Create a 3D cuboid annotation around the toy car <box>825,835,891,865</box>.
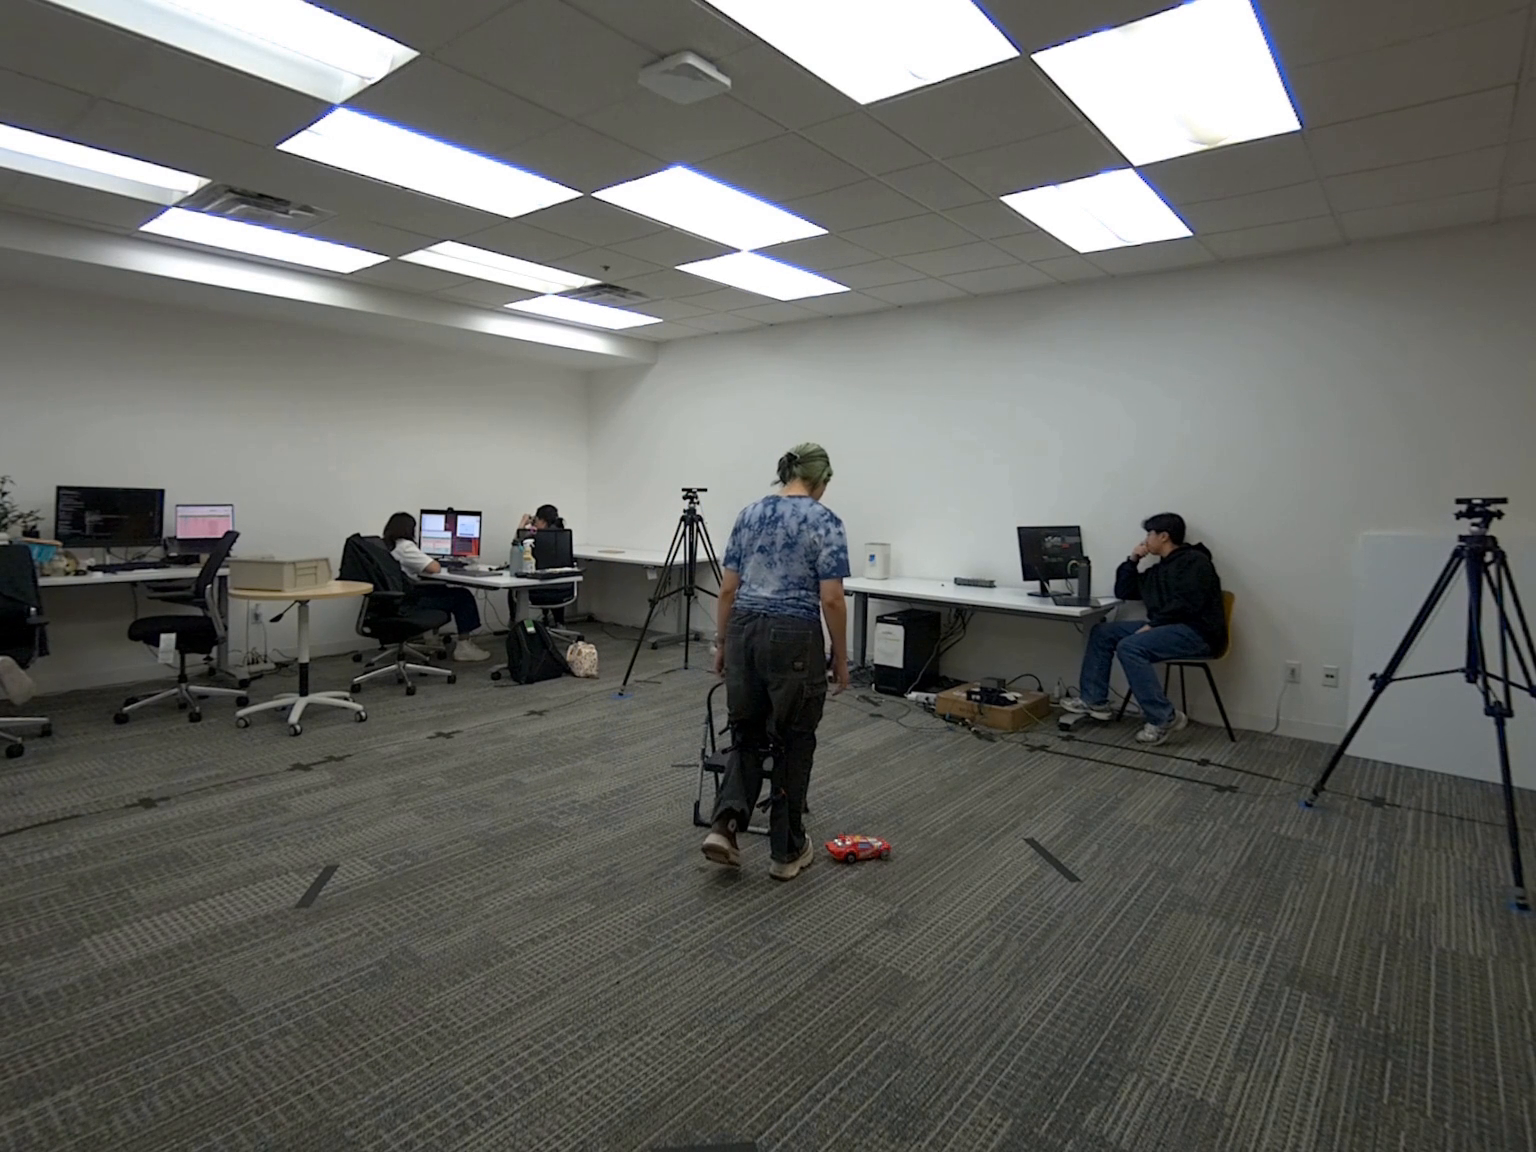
[{"bbox_3d":[0.339,1.039,3.242,0.249,0.083,0.133,10,1,-18],"label":"toy car"}]
